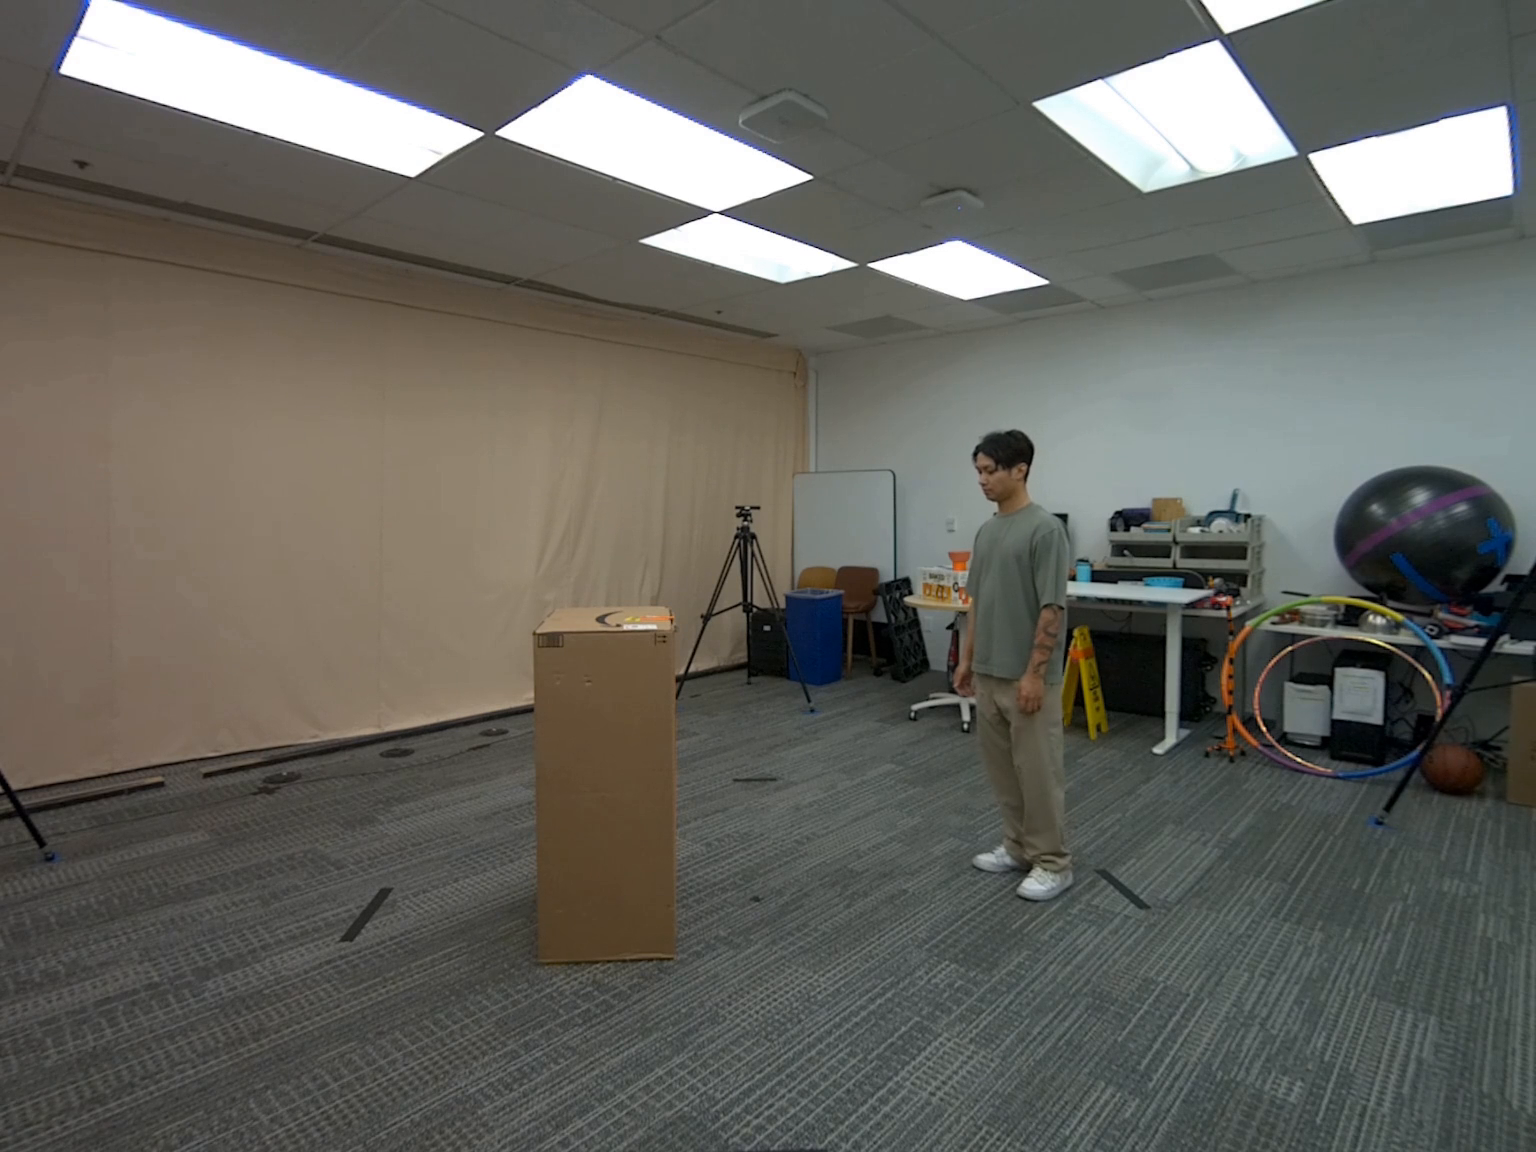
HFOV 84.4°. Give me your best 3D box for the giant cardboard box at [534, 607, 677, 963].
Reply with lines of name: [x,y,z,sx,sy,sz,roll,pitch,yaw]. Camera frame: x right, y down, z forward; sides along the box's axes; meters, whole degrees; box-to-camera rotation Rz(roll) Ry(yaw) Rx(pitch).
giant cardboard box: [-0.532,0.652,2.829,0.423,1.024,0.583,-1,3,-8]
